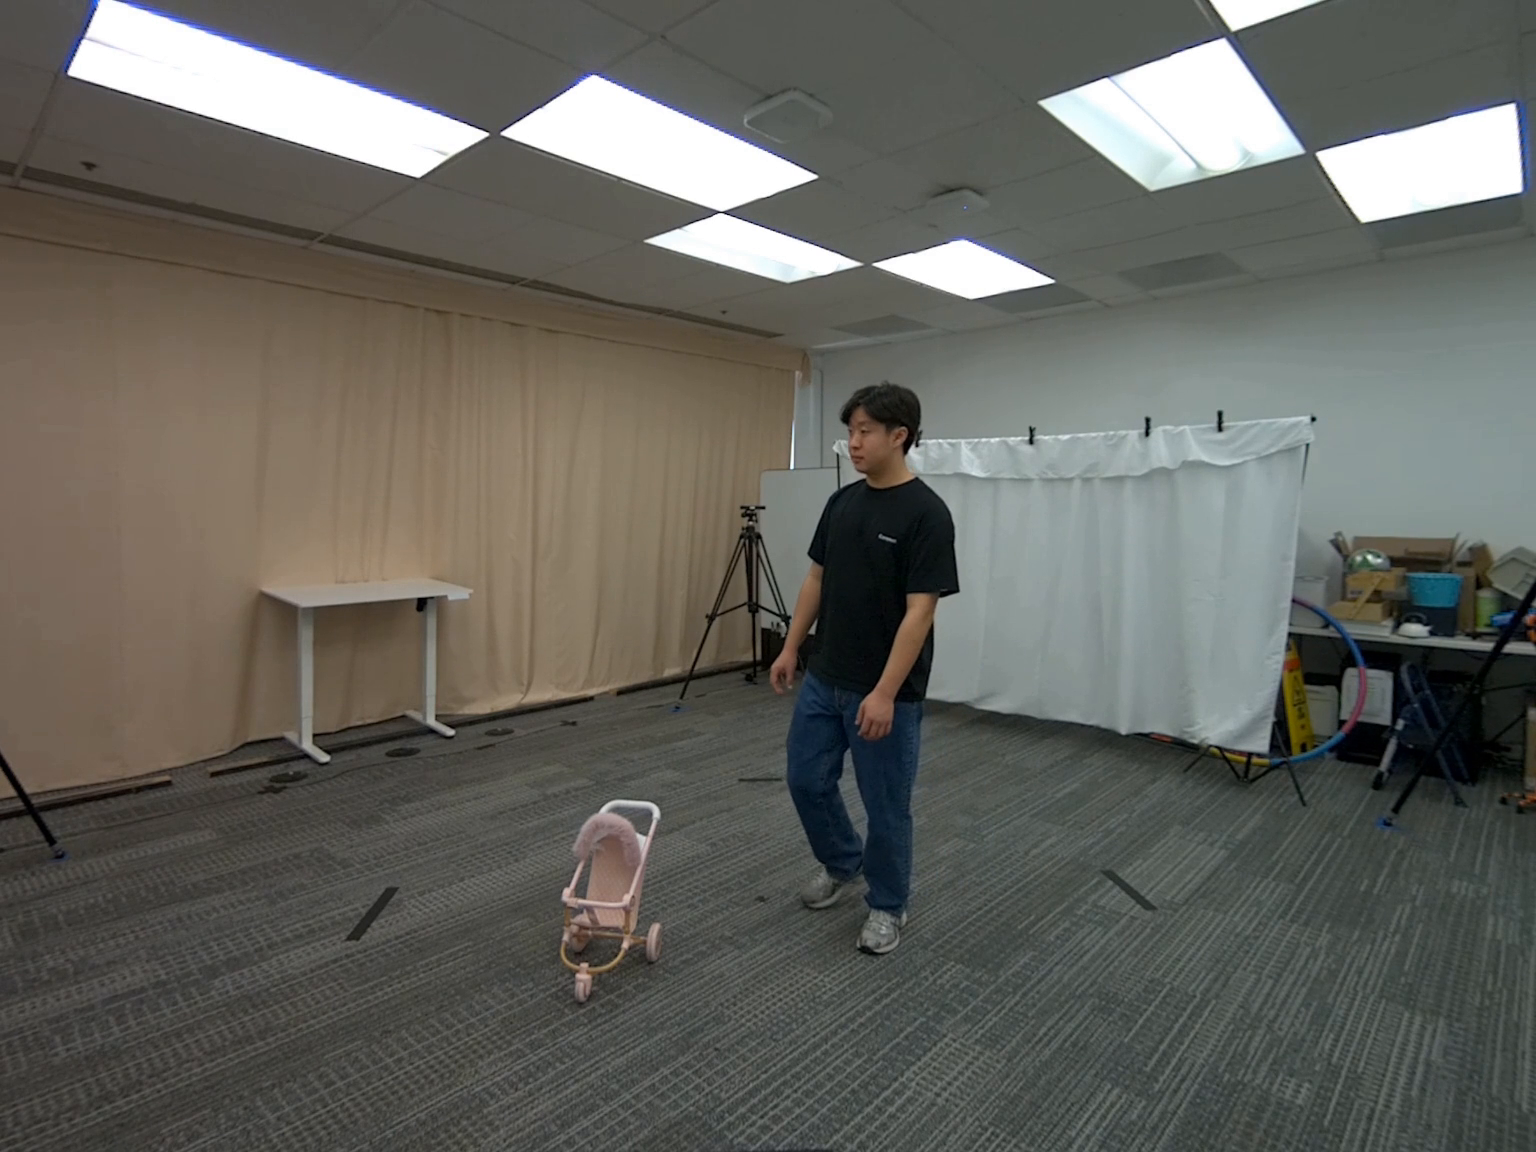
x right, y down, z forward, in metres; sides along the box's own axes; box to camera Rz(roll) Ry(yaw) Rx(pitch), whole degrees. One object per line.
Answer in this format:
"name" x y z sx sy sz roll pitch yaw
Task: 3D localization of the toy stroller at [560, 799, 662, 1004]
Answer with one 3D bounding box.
"toy stroller" -0.485 0.966 2.546 0.287 0.539 0.333 0 -13 16
